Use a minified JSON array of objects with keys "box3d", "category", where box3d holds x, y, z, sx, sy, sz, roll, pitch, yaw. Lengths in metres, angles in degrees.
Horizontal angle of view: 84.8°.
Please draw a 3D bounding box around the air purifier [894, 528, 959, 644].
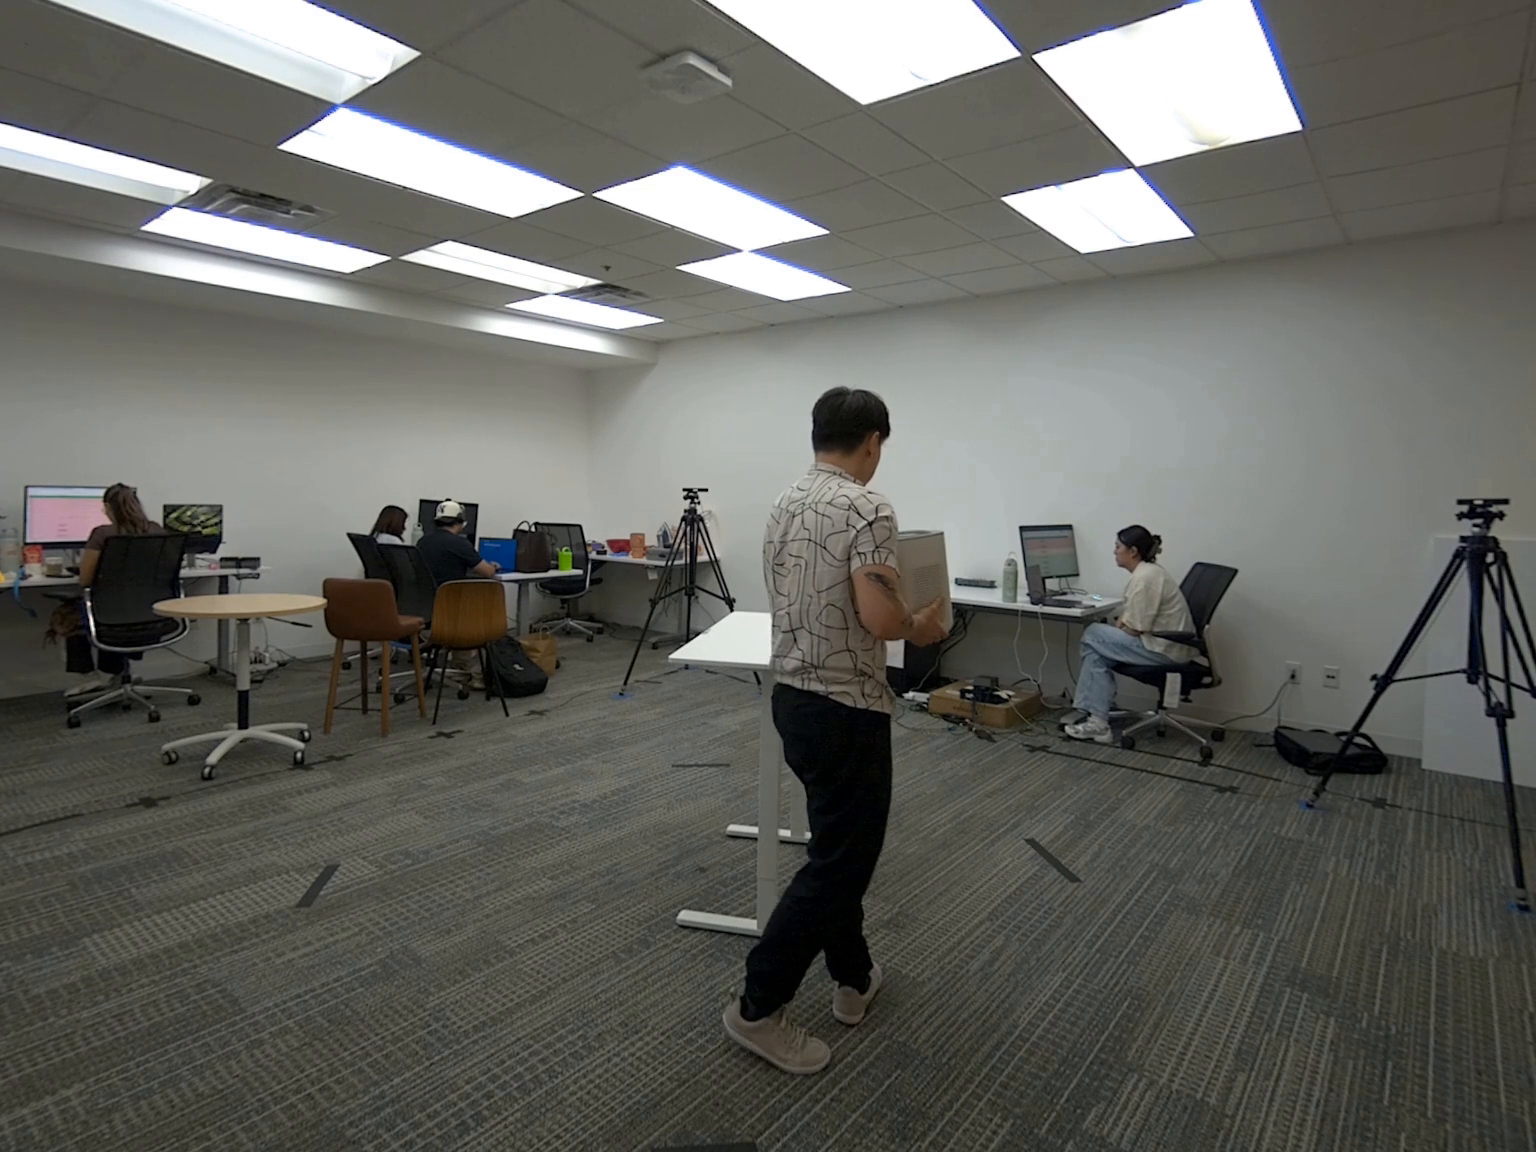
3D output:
[{"box3d":[0.367,0.019,2.230,0.168,0.264,0.175,-10,6,-22],"category":"air purifier"}]
